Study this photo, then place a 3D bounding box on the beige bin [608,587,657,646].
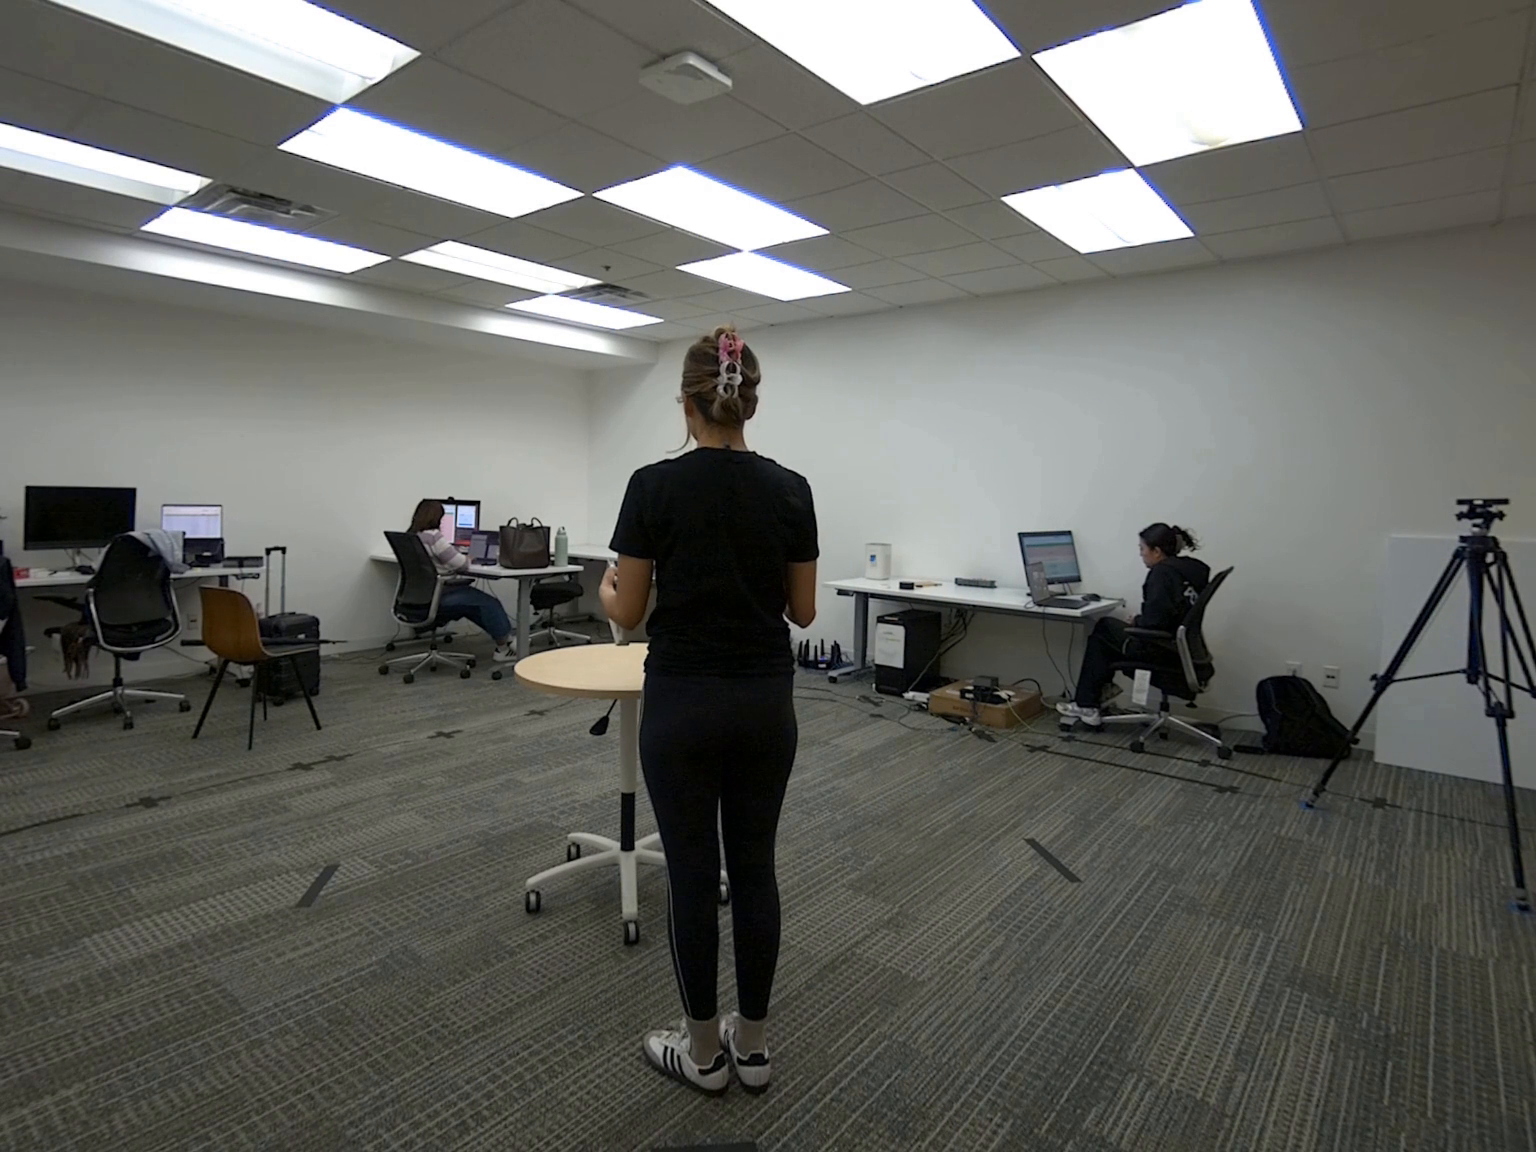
[{"bbox_3d":[-0.246,0.062,2.399,0.417,0.187,0.386,-2,11,-14],"label":"beige bin"}]
